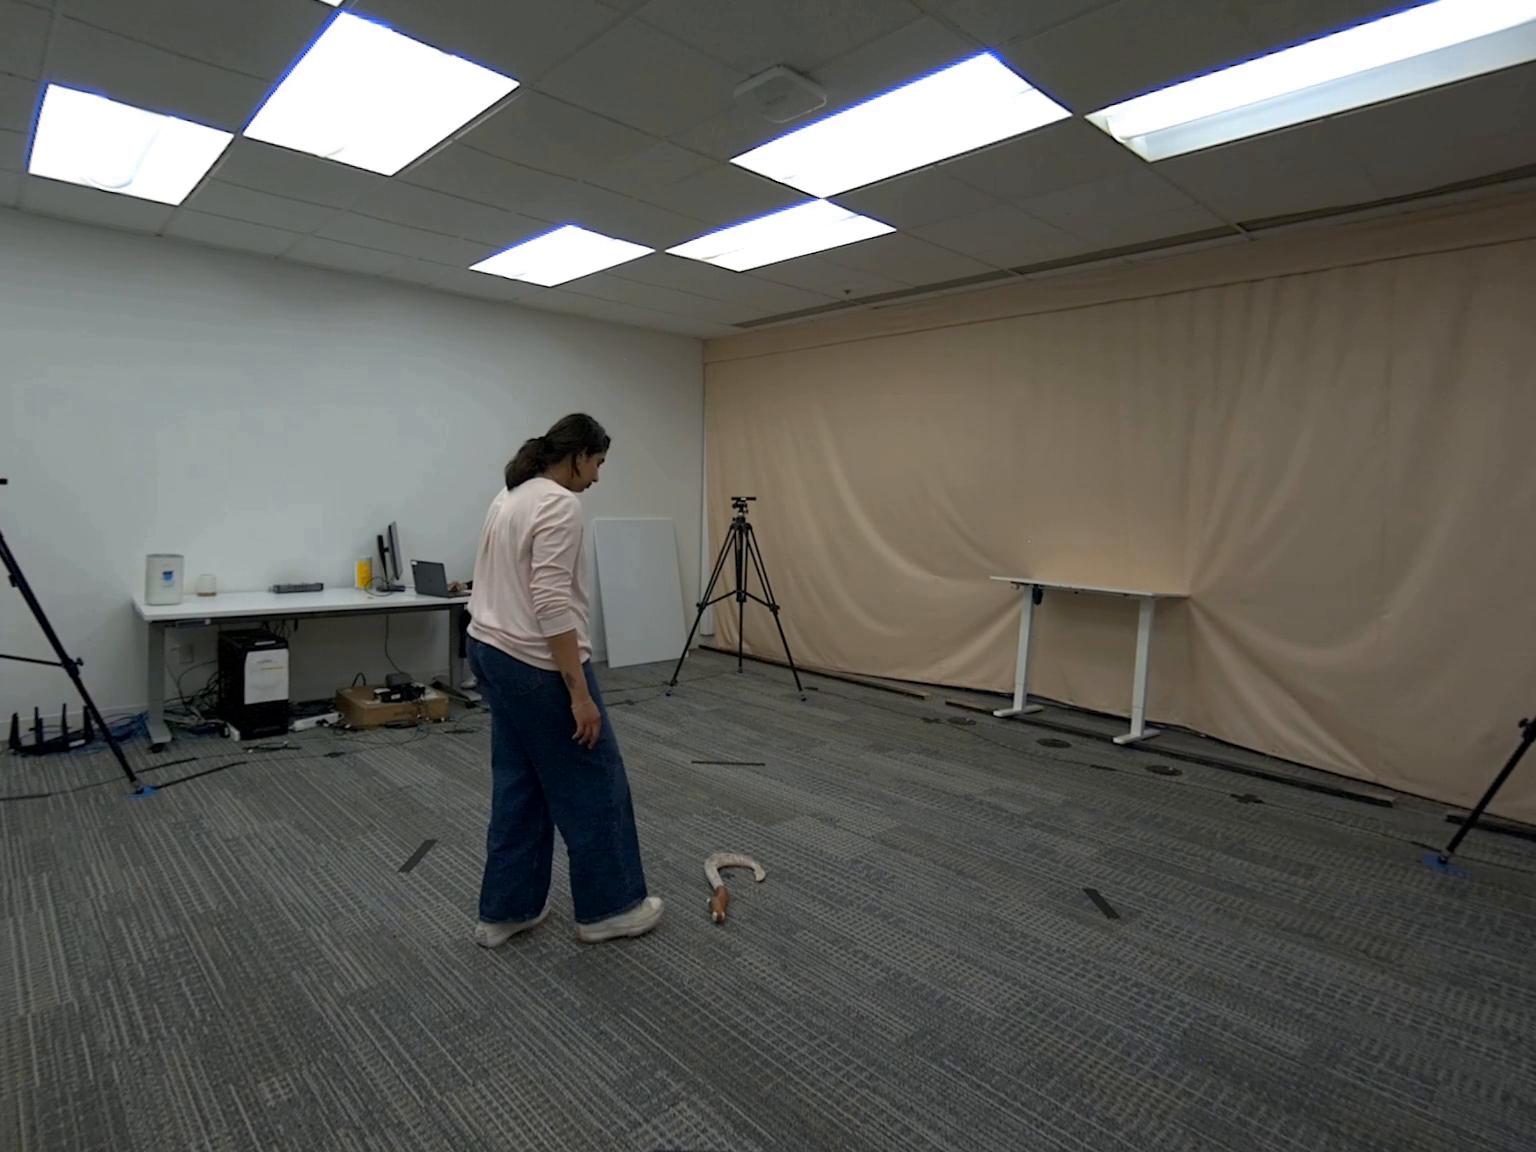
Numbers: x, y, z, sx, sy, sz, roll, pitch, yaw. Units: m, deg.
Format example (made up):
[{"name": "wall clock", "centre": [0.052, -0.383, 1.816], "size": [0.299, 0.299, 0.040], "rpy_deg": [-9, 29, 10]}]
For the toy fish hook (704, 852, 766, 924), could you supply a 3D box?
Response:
[{"name": "toy fish hook", "centre": [-0.124, 1.094, 2.979], "size": [0.224, 0.048, 0.508], "rpy_deg": [0, 6, -2]}]
